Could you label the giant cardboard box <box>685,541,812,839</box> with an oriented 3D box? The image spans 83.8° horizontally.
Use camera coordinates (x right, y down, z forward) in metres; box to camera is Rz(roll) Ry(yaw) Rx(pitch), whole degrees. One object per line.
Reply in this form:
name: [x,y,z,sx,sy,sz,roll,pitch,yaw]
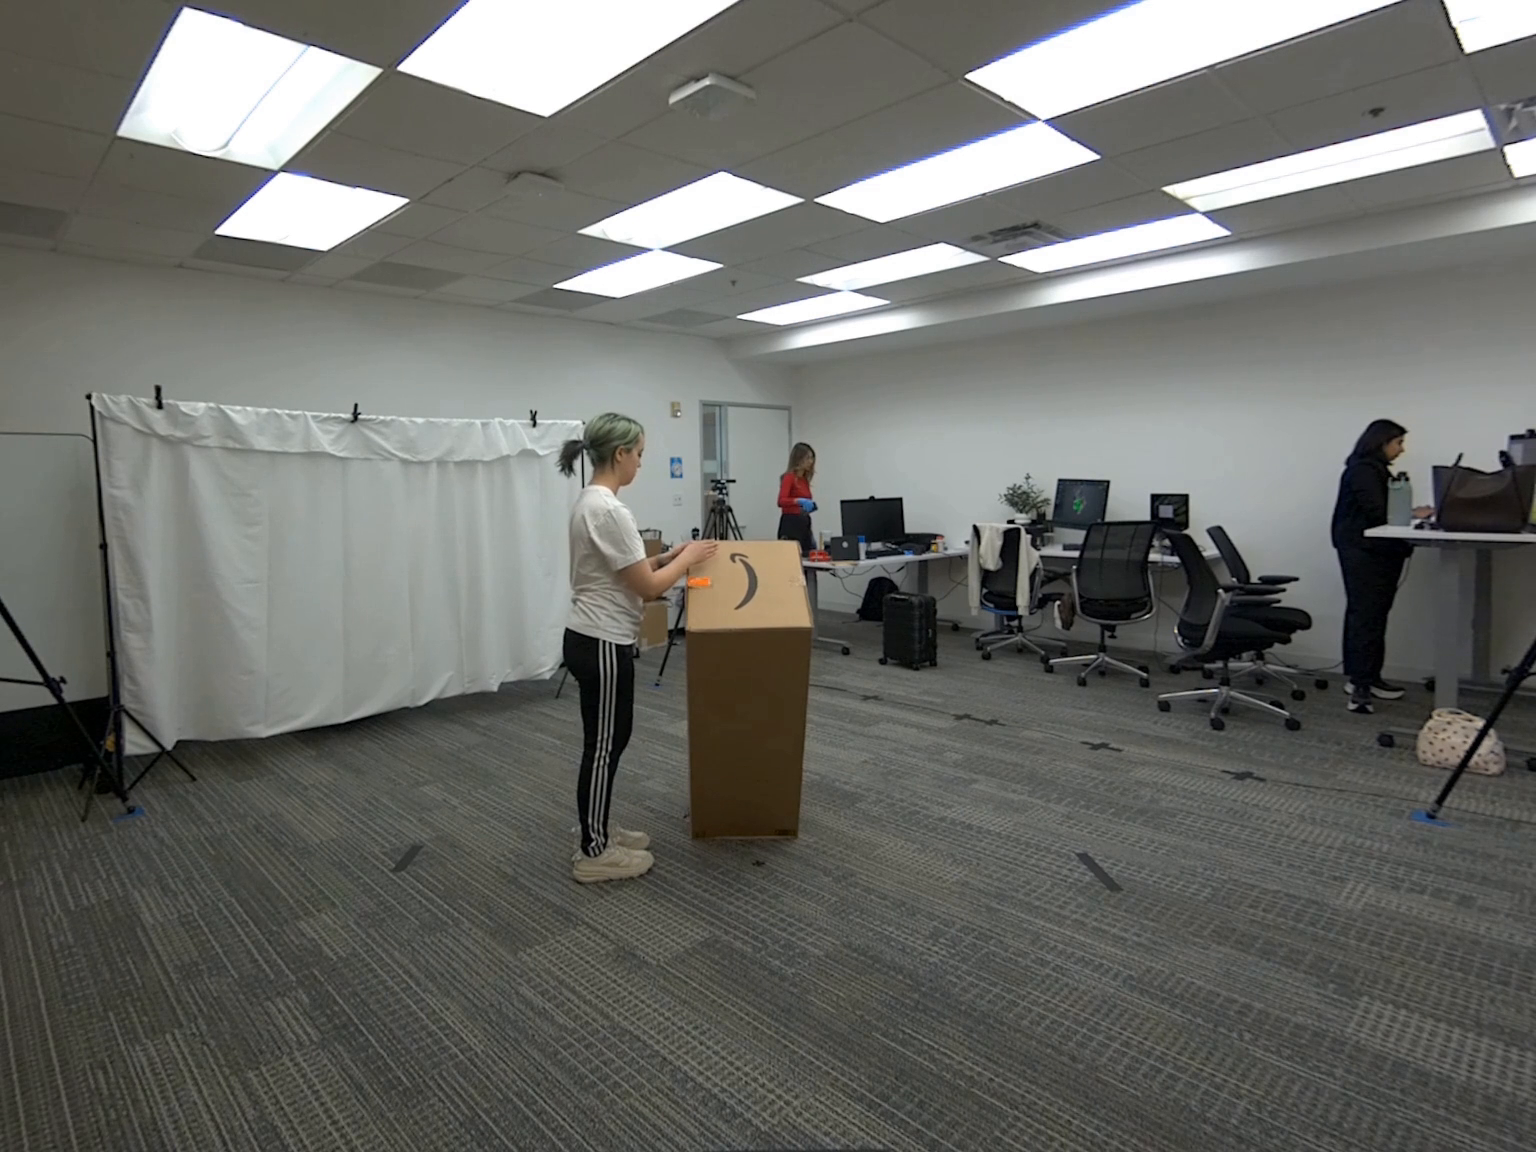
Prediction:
giant cardboard box: [-0.091,0.450,3.322,0.425,1.002,0.592,0,31,-3]
